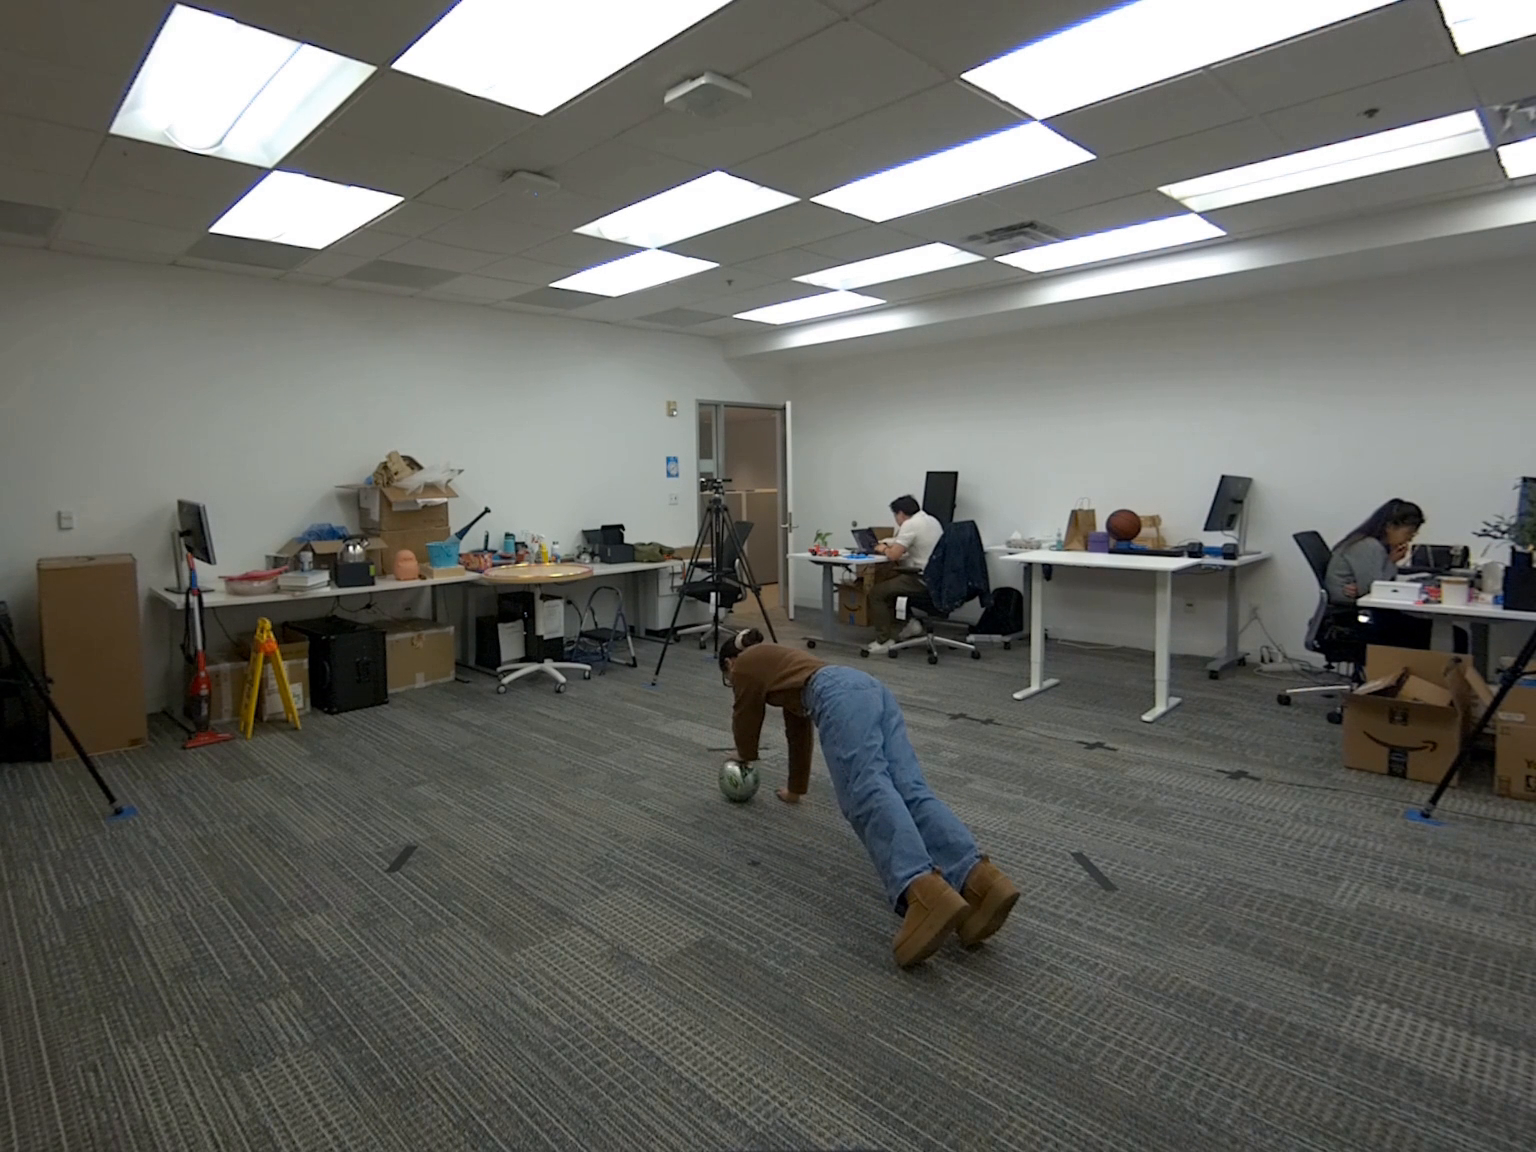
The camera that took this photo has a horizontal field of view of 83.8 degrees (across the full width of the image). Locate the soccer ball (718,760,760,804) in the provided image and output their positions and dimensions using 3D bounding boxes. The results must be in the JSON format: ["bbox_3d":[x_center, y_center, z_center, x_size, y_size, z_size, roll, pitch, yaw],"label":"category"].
[{"bbox_3d":[-0.125,0.884,3.715,0.187,0.187,0.188,-1,5,-2],"label":"soccer ball"}]
